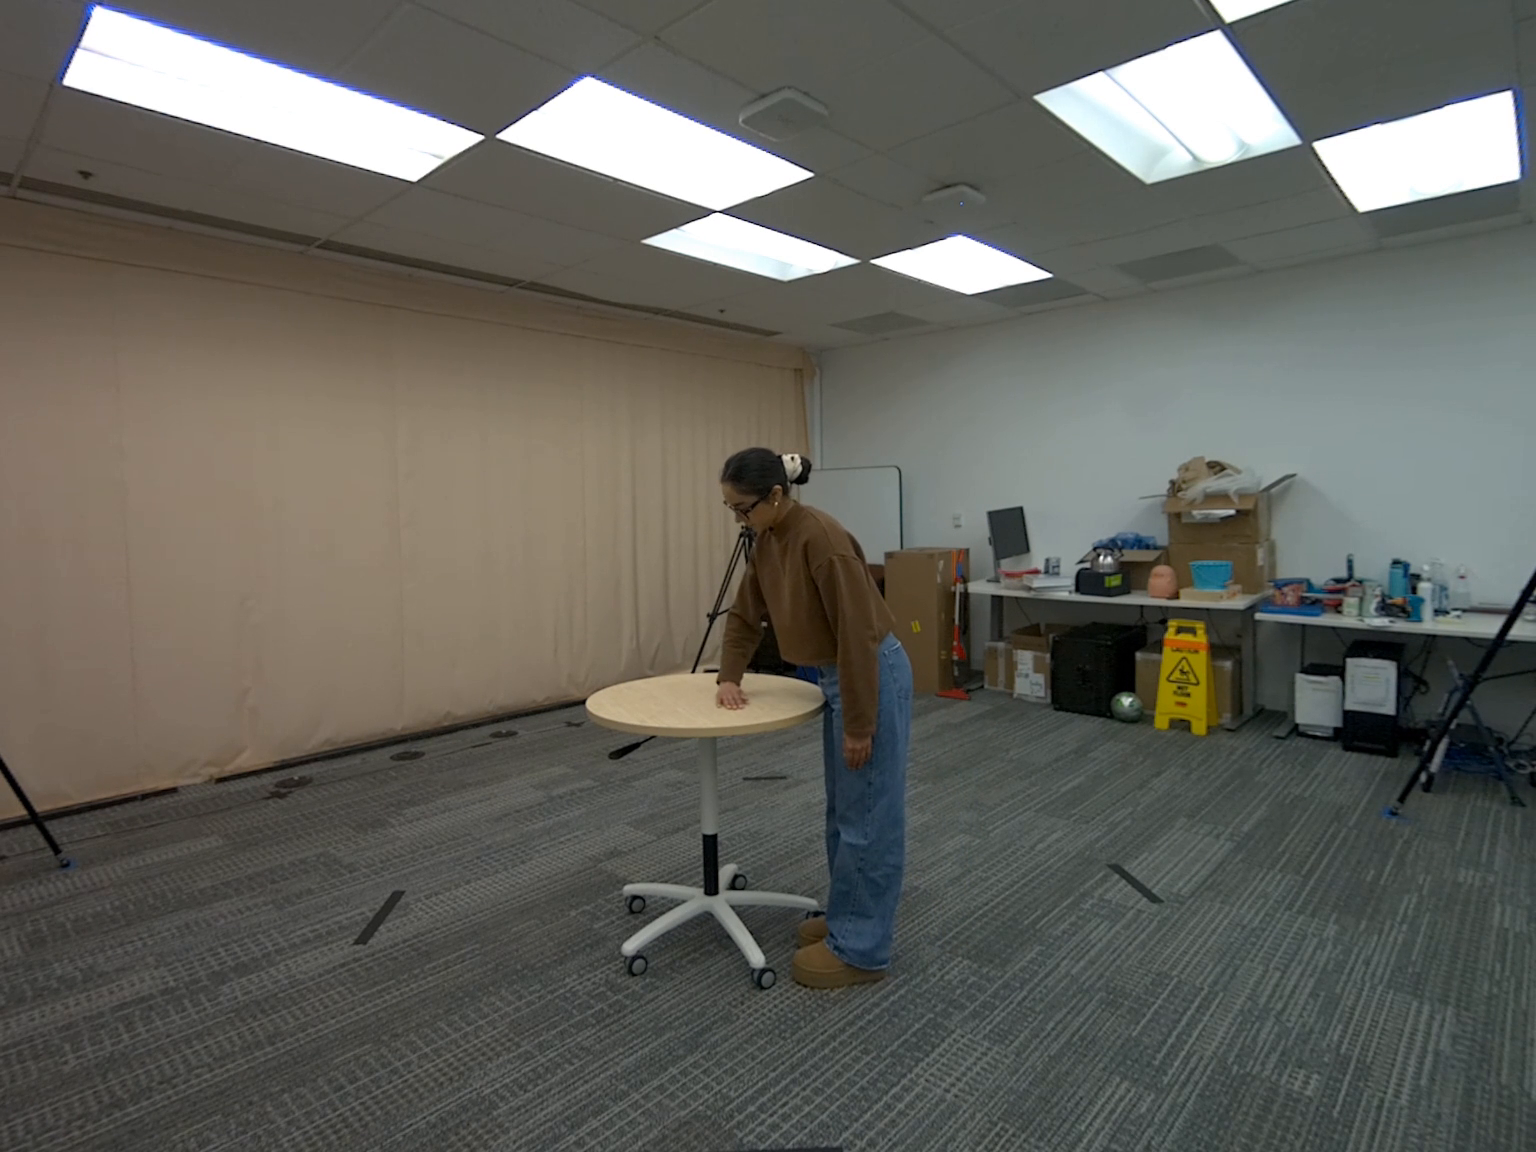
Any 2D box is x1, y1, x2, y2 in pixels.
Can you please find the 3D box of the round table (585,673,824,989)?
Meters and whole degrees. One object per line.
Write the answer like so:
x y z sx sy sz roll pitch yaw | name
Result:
-0.189 0.781 2.710 0.763 0.792 0.767 -1 4 -2 | round table
